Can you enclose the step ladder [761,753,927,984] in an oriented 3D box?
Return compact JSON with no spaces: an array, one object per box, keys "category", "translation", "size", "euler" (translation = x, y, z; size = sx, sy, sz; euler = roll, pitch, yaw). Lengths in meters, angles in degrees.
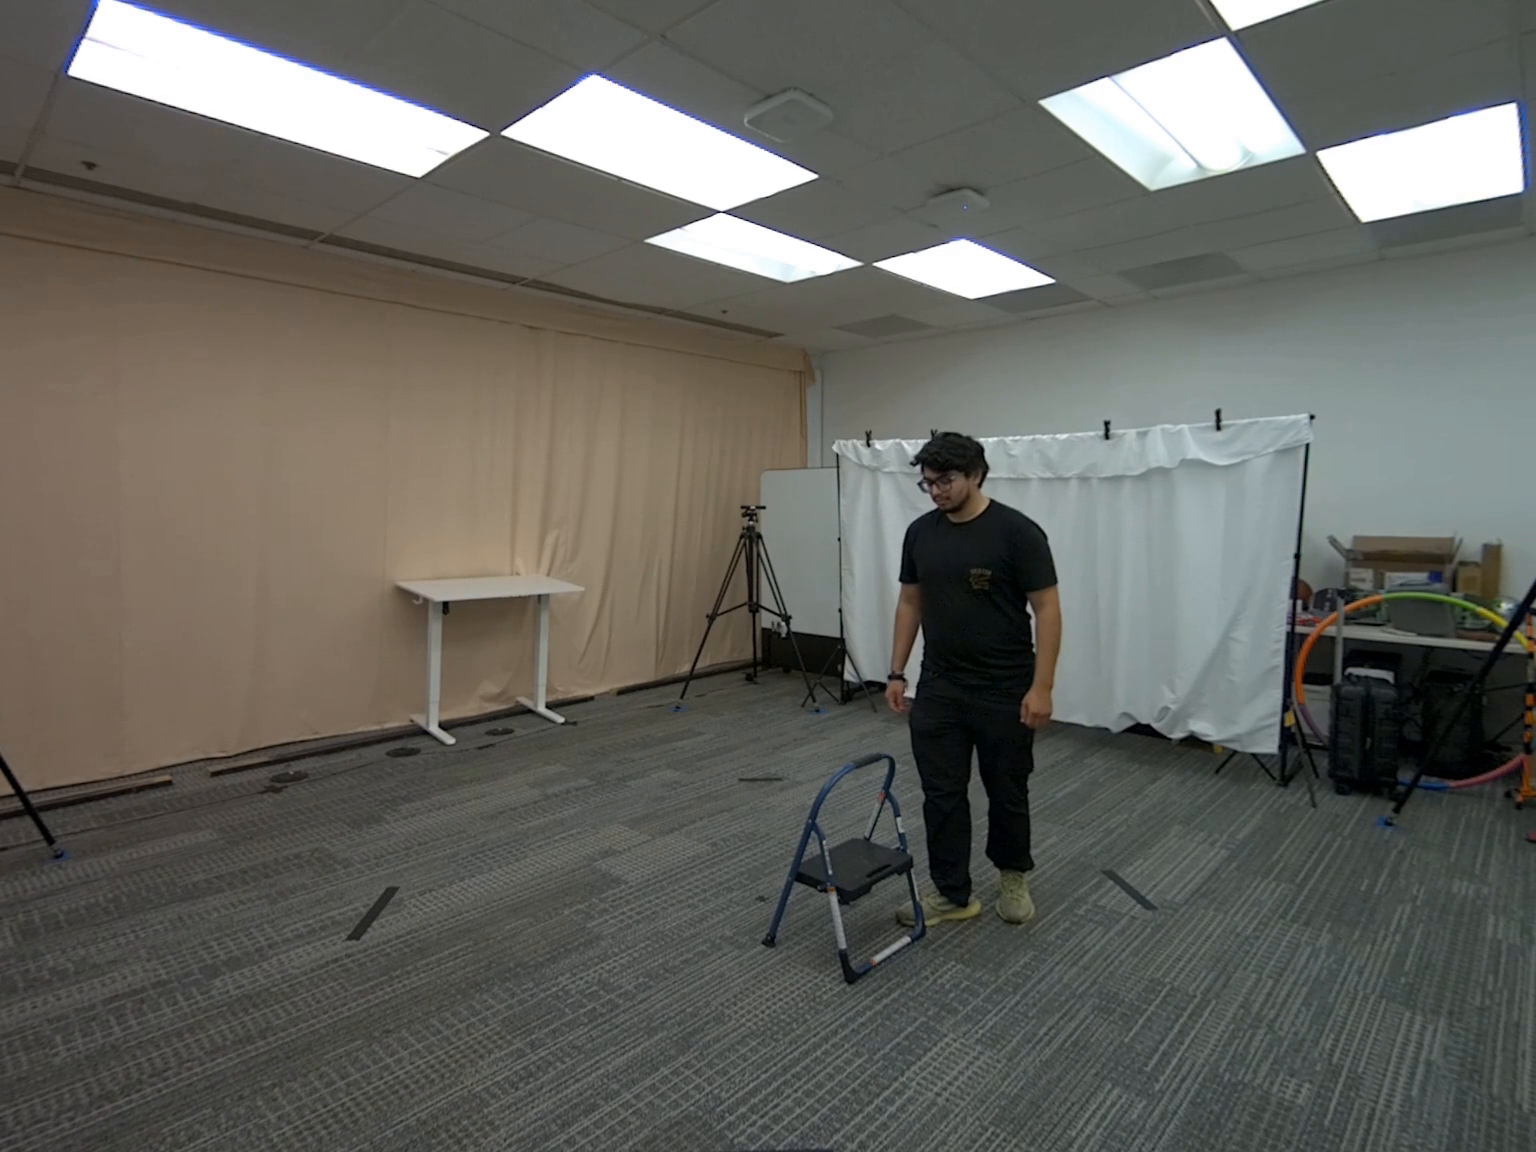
[{"category":"step ladder","translation":[0.254,0.863,2.689],"size":[0.361,0.605,0.417],"euler":[3,4,43]}]
